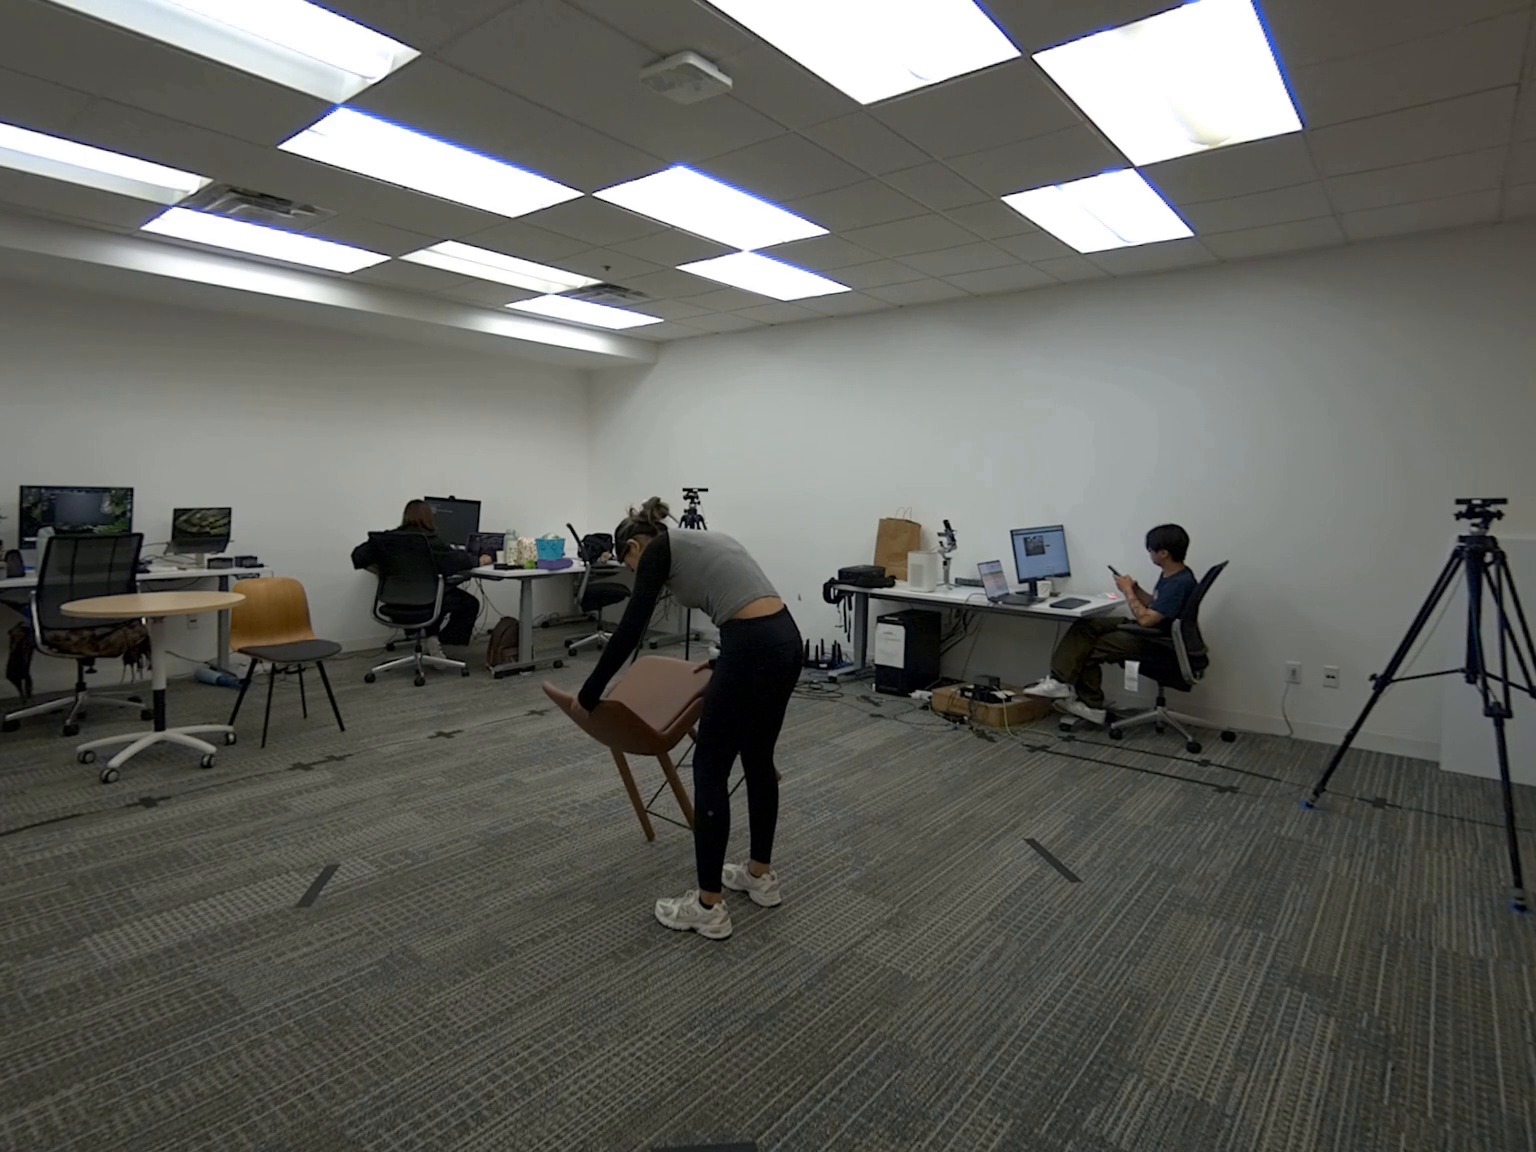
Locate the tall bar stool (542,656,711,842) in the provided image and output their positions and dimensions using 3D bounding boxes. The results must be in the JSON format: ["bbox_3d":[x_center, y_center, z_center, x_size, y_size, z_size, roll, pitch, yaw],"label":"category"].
[{"bbox_3d":[-0.399,0.586,3.160,0.472,0.860,0.468,5,42,42],"label":"tall bar stool"}]
